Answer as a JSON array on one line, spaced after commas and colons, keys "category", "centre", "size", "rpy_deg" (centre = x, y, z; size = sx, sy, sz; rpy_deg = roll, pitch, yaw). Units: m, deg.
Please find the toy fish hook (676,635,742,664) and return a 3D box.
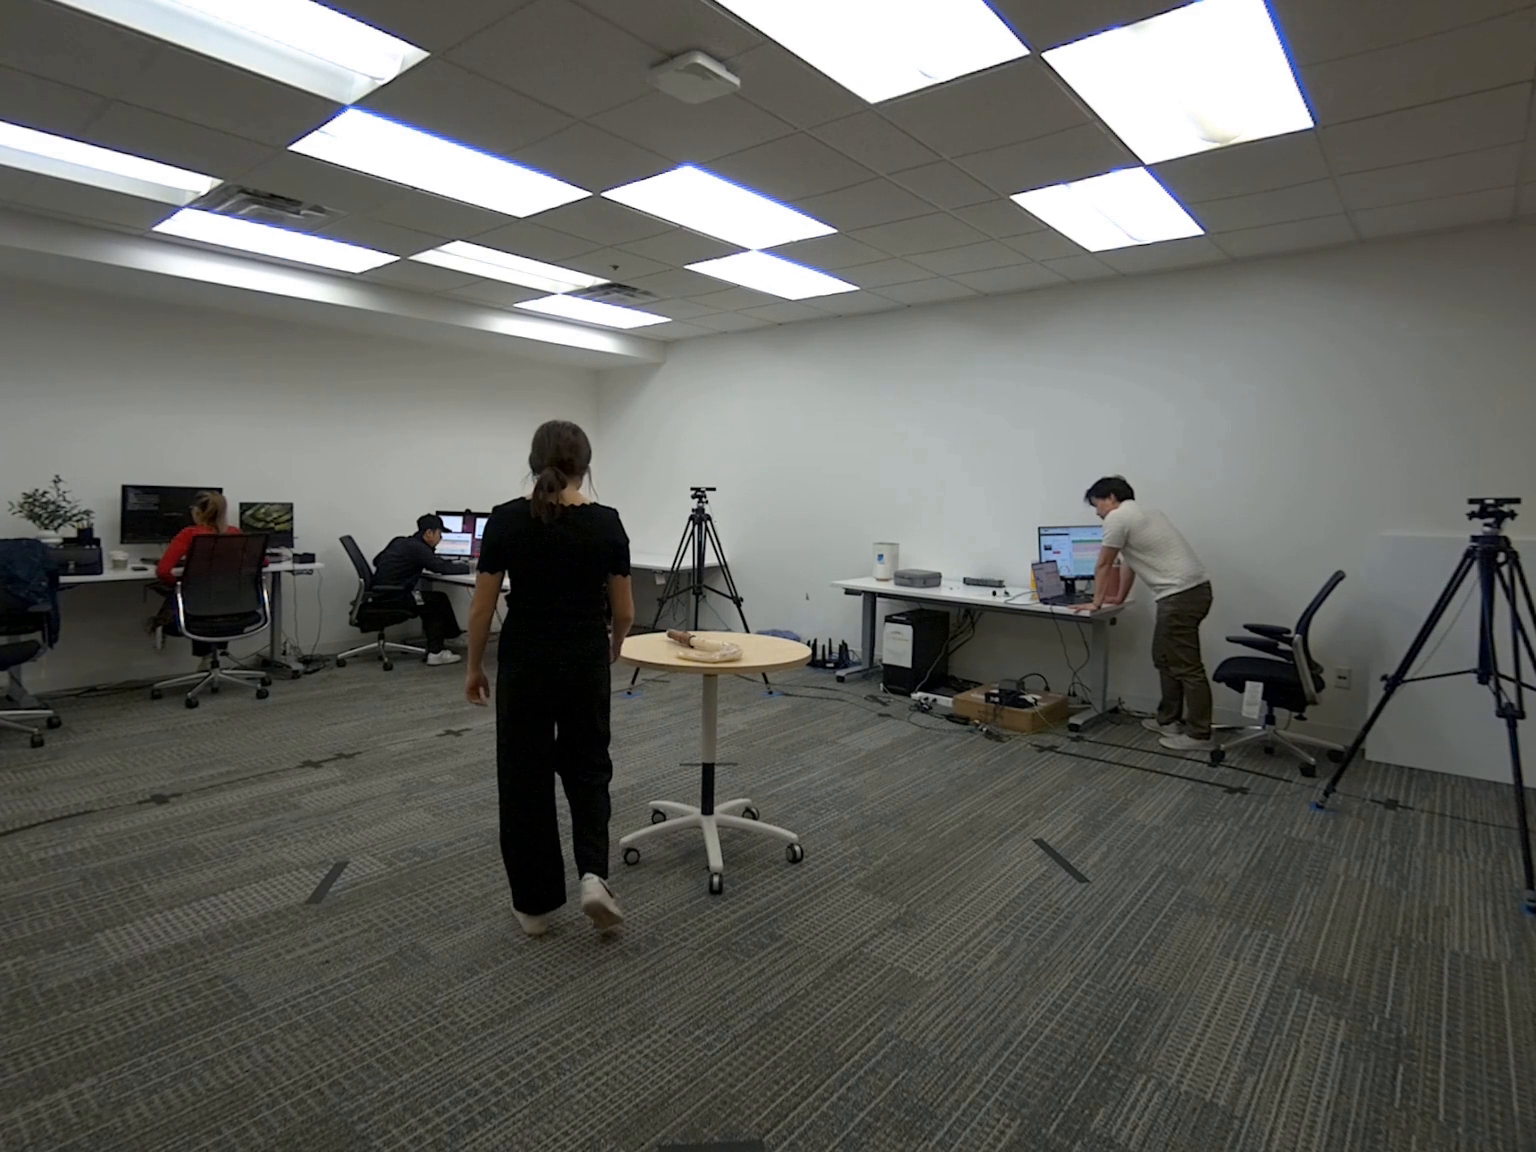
[{"category": "toy fish hook", "centre": [-0.303, 0.253, 3.143], "size": [0.218, 0.048, 0.523], "rpy_deg": [3, 4, -33]}]
